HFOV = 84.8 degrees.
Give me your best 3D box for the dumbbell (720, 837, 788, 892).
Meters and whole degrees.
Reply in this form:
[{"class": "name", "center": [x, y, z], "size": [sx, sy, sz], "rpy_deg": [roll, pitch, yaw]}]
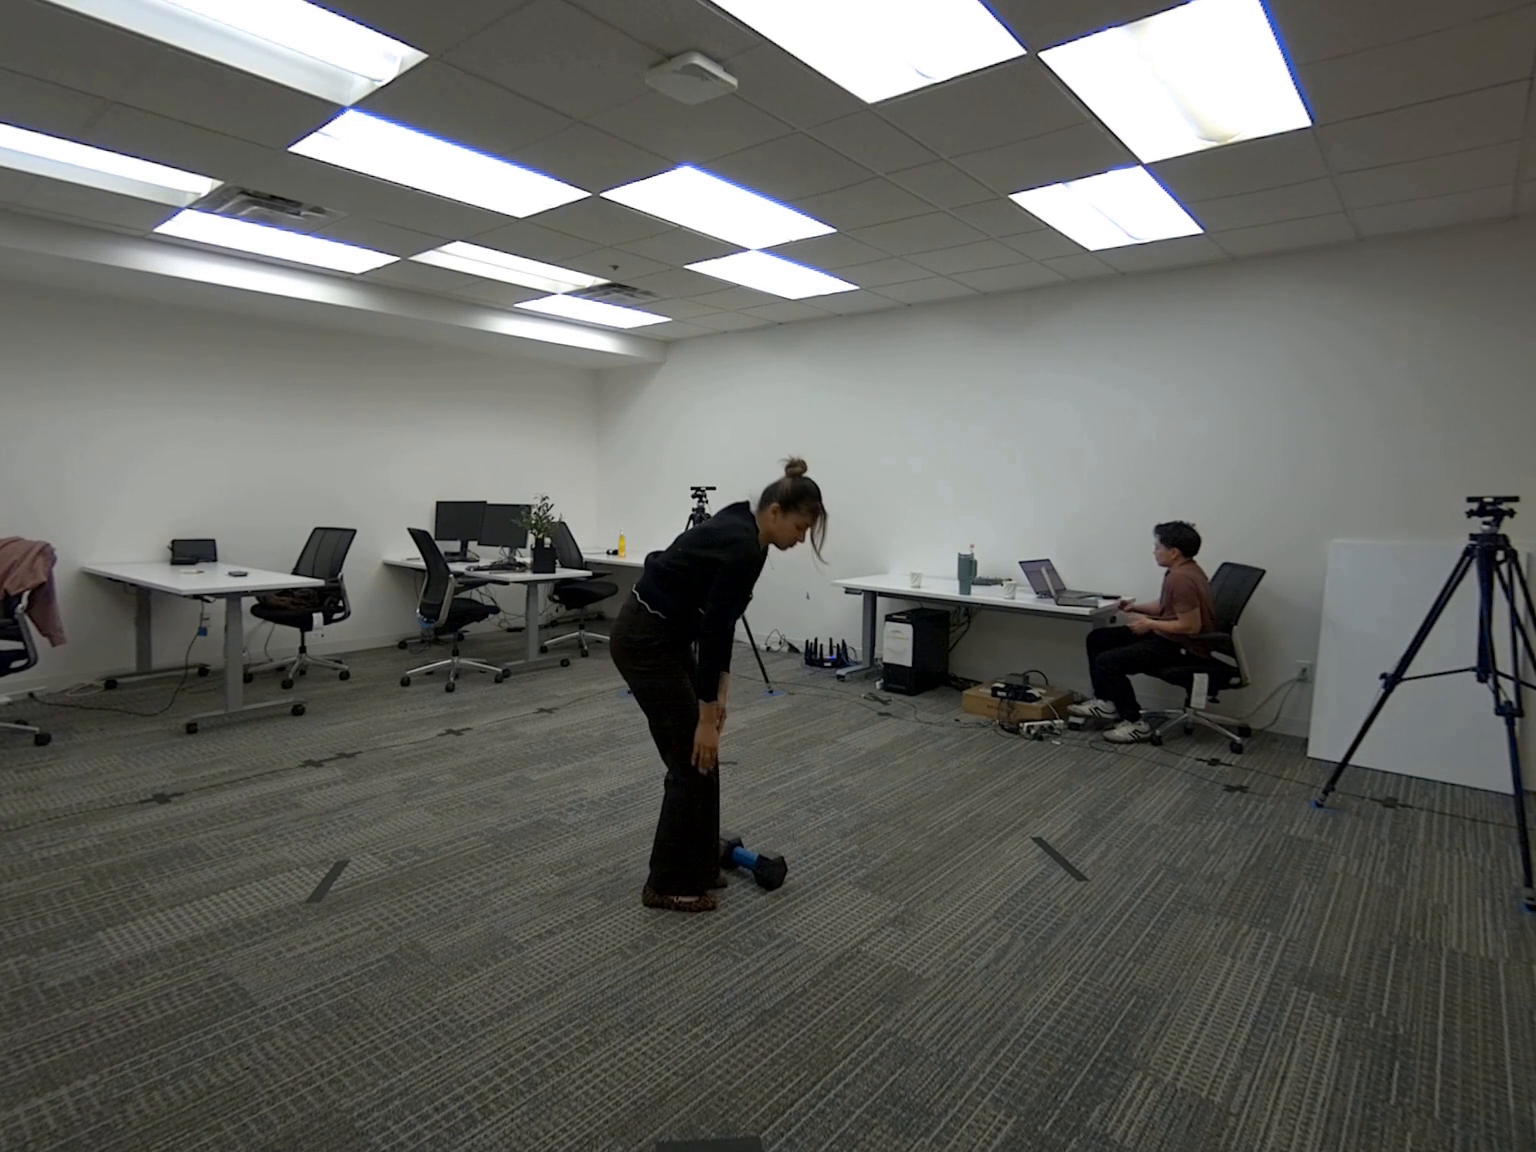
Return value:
[{"class": "dumbbell", "center": [-0.079, 1.017, 3.054], "size": [0.303, 0.108, 0.119], "rpy_deg": [4, 4, 43]}]
